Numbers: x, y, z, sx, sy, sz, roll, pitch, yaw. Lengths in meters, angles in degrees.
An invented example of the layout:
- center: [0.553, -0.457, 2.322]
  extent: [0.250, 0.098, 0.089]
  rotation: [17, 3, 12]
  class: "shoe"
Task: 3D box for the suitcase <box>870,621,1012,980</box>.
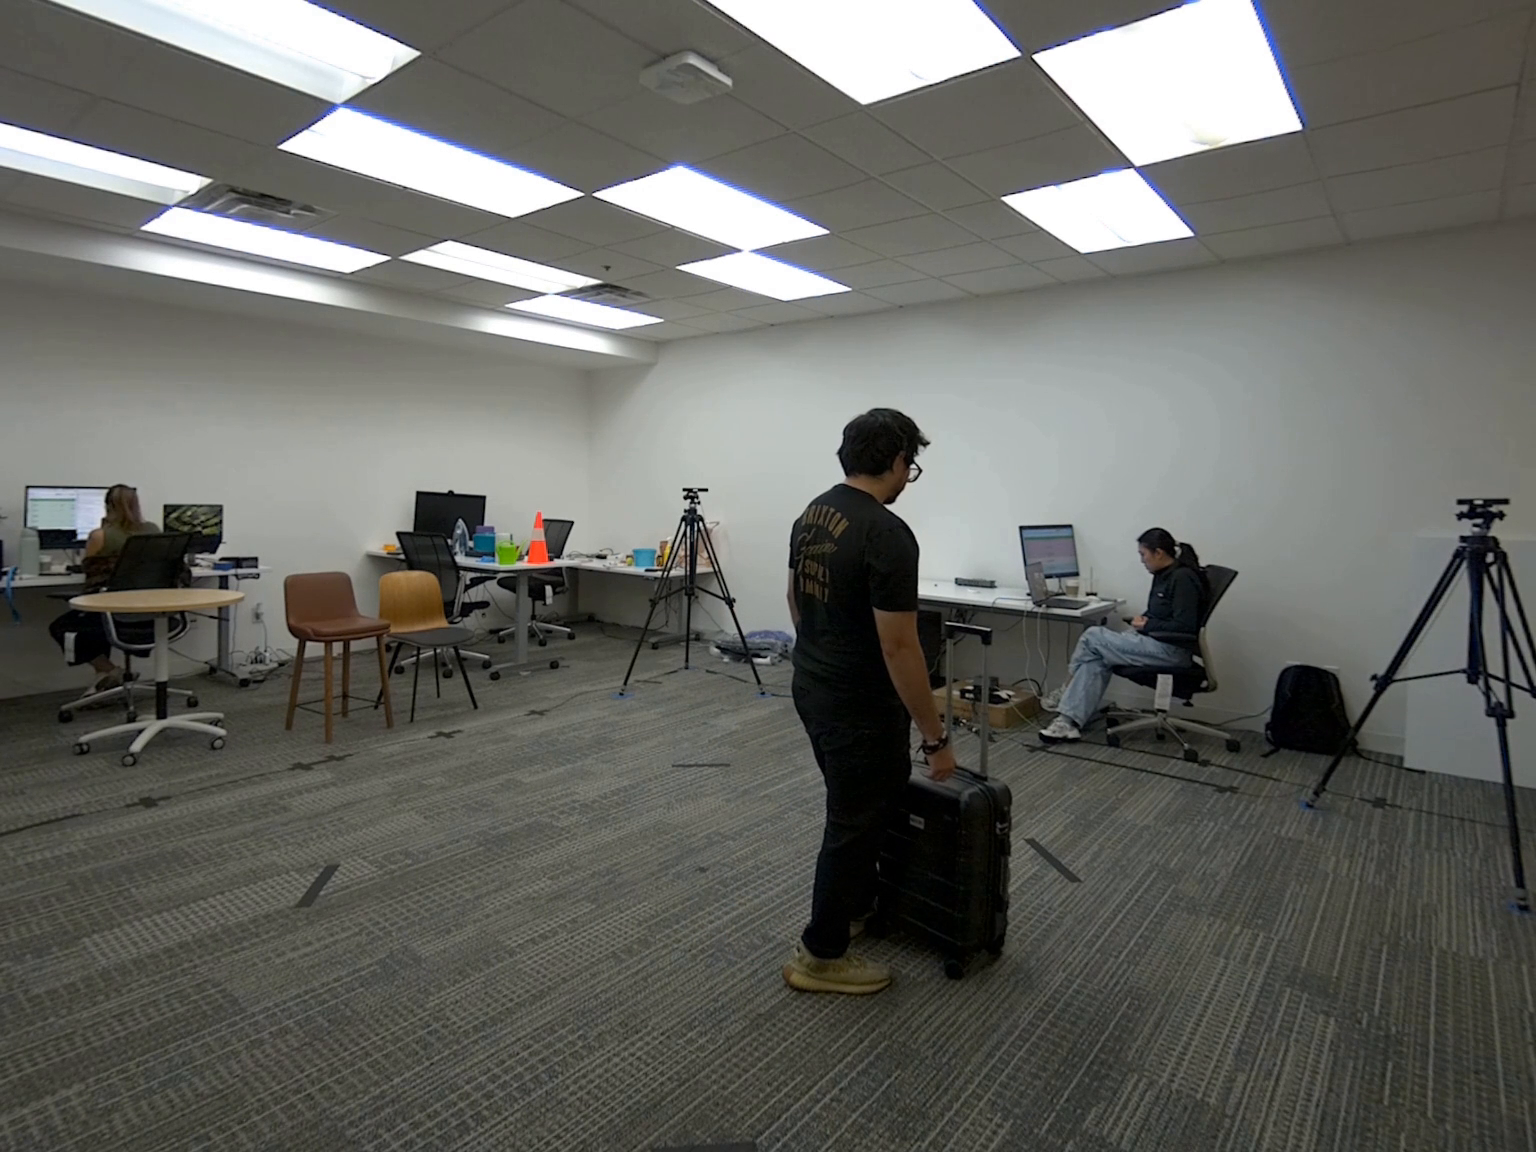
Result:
- center: [0.546, 0.654, 2.607]
  extent: [0.249, 0.975, 0.397]
  rotation: [-4, 4, -43]
  class: "suitcase"
